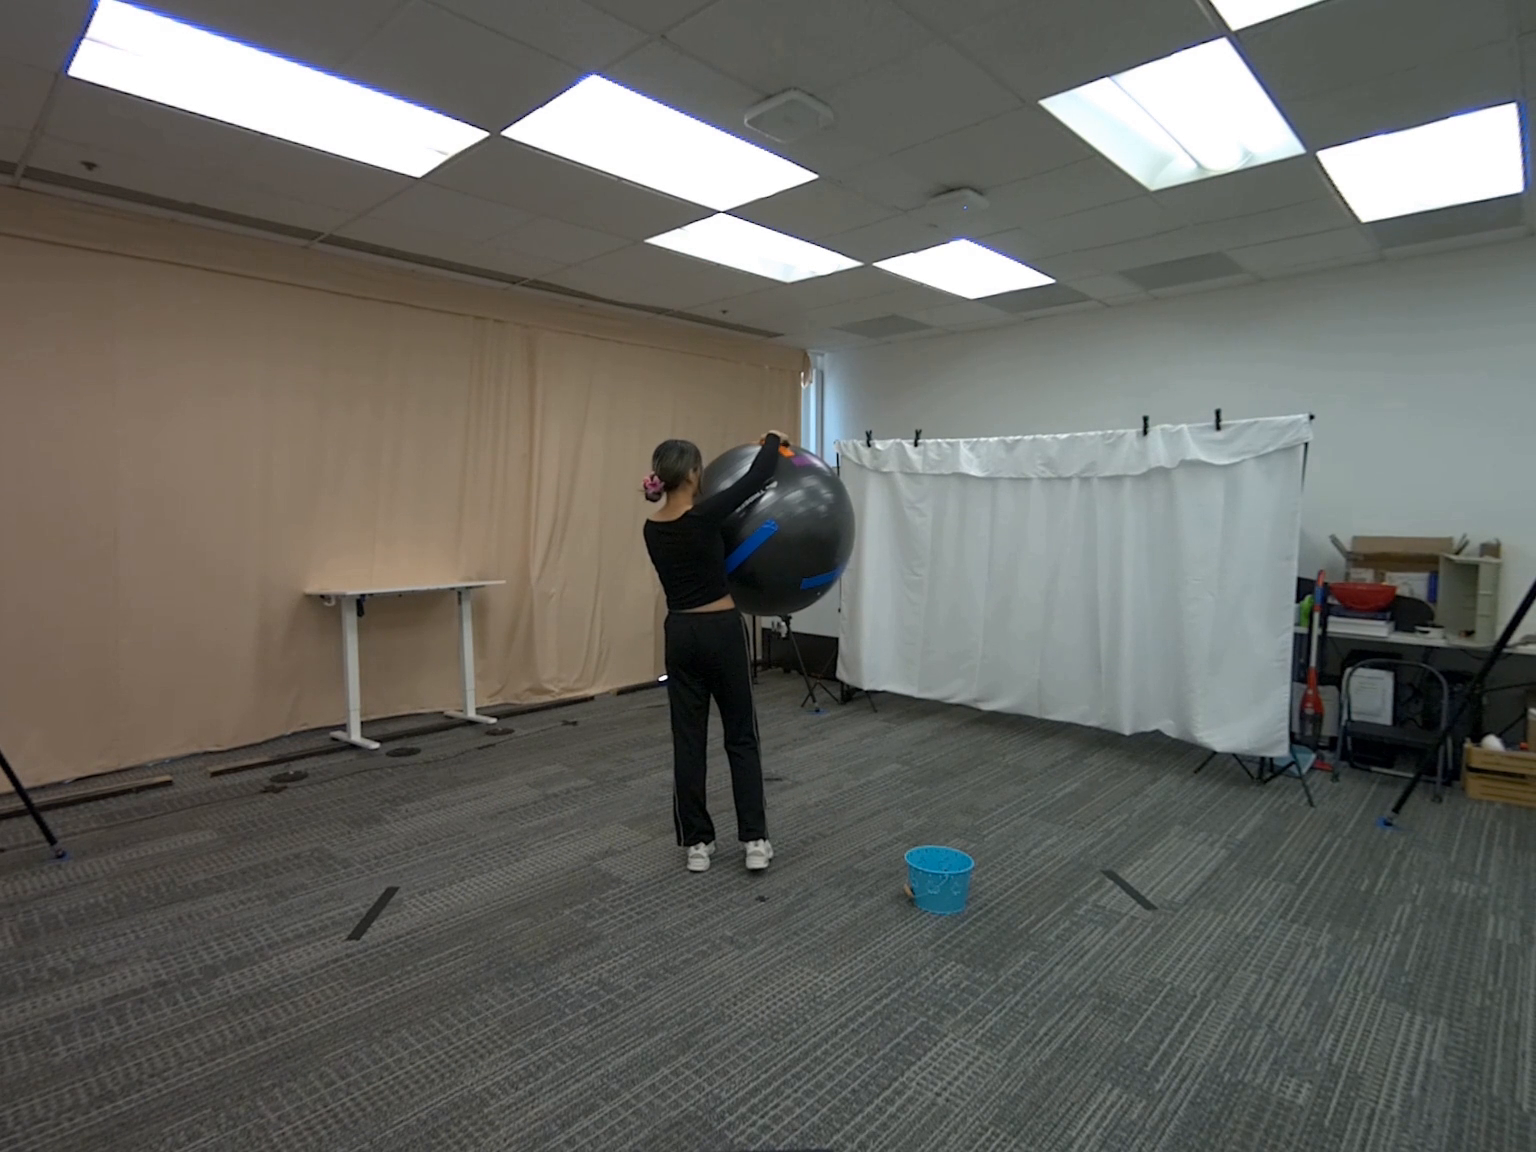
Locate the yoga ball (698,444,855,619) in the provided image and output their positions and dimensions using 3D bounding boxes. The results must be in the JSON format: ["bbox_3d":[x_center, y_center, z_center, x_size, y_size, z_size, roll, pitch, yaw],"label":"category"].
[{"bbox_3d":[-0.007,-0.199,3.657,0.757,0.756,0.760,0,4,-2],"label":"yoga ball"}]
